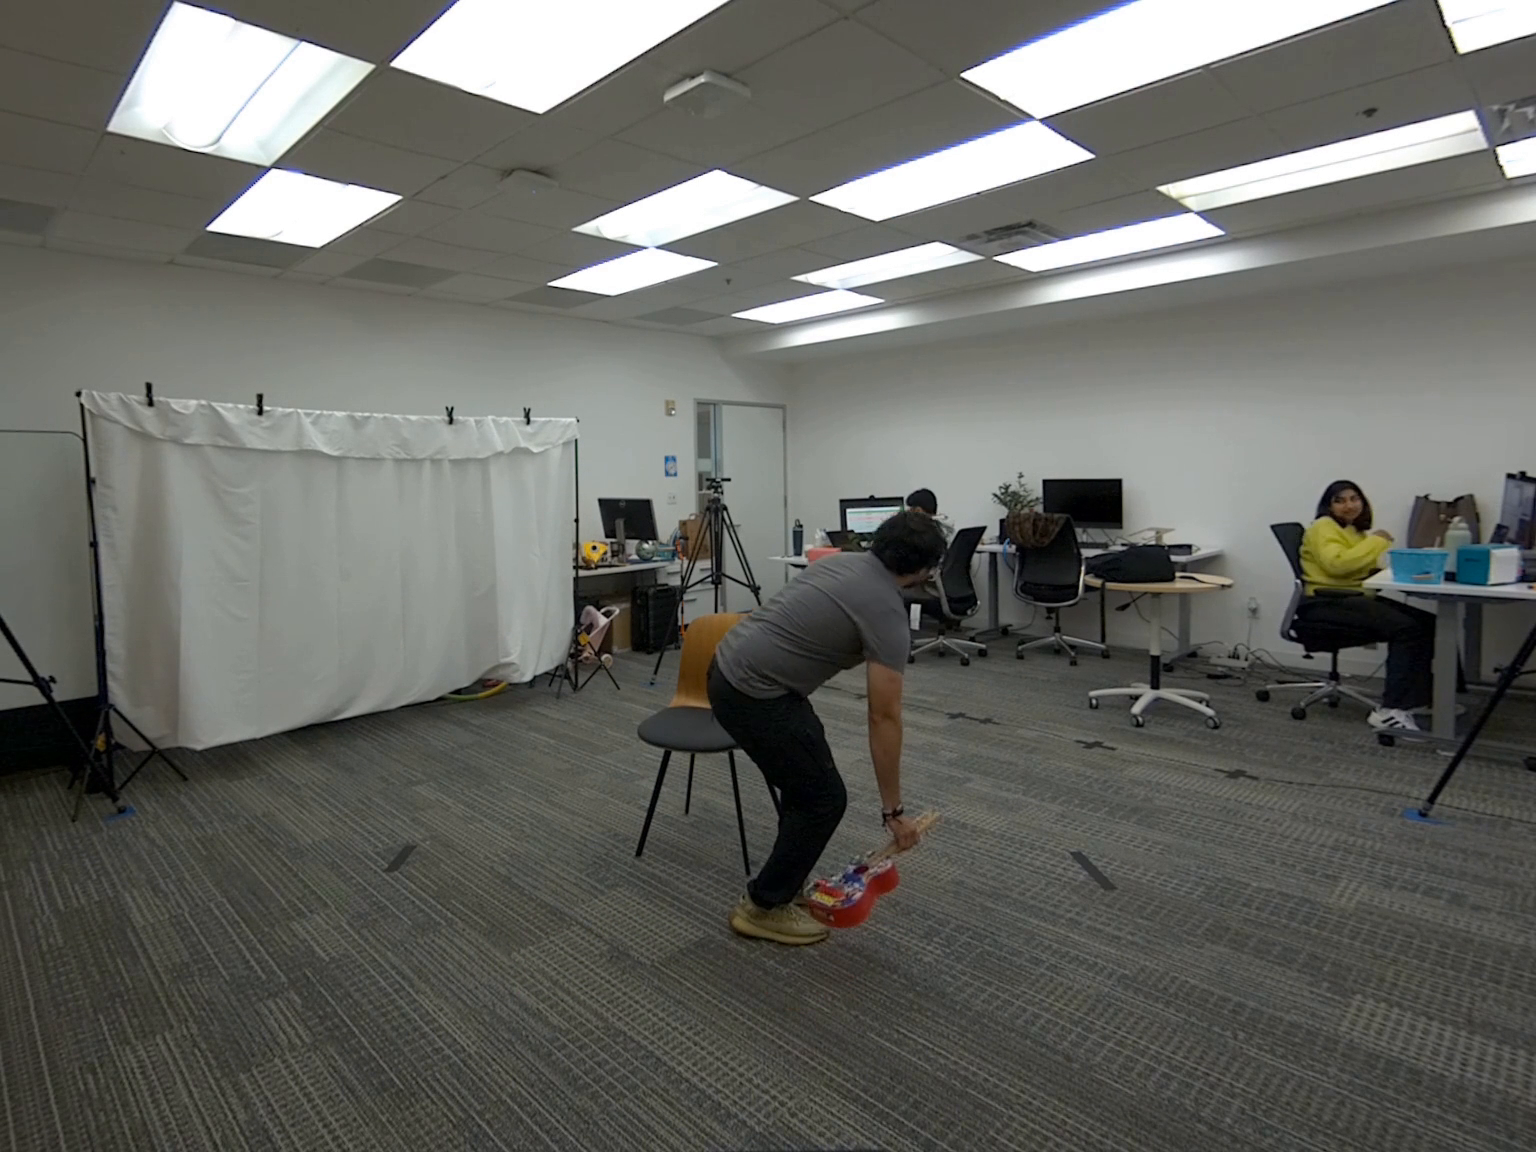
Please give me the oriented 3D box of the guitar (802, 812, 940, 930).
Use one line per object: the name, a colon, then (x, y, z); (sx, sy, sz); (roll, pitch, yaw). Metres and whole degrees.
guitar: (0.339, 0.821, 2.392); (0.492, 0.070, 0.197); (-23, 9, -24)
